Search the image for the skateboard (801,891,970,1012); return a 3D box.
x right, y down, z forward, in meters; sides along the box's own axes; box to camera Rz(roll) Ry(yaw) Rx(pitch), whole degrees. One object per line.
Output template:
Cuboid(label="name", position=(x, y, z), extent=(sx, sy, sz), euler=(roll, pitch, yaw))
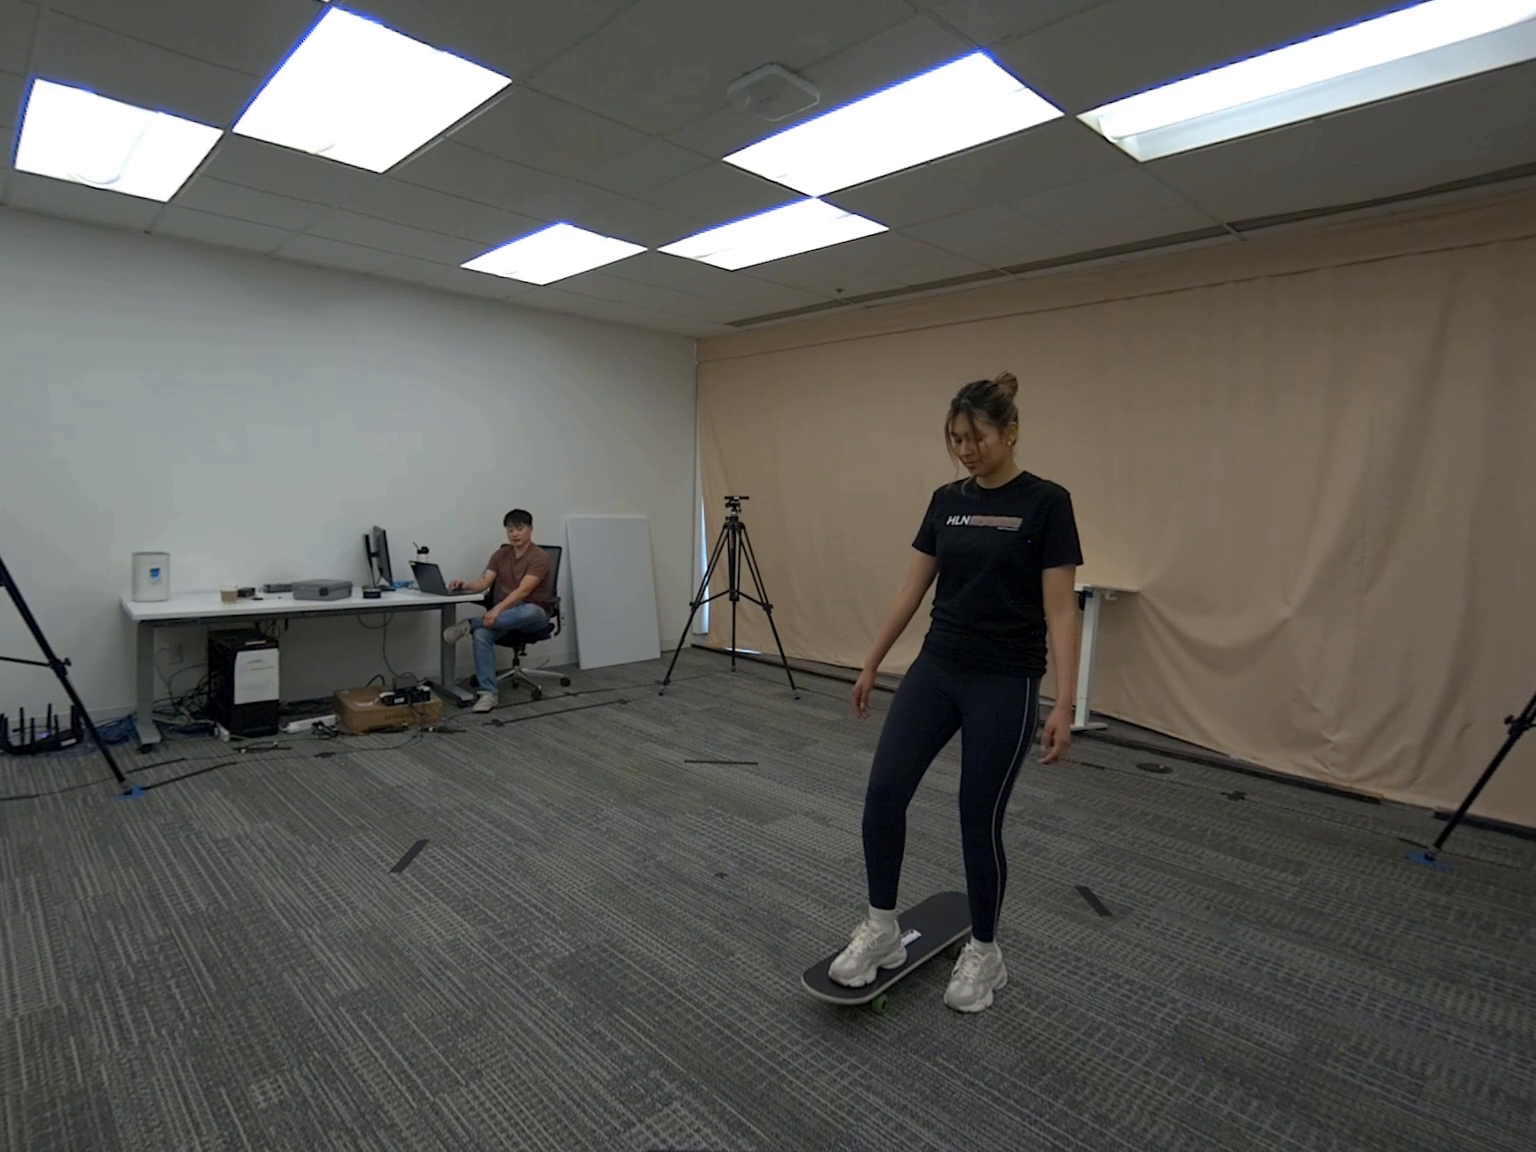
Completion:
Cuboid(label="skateboard", position=(0.386, 1.121, 2.487), extent=(0.198, 0.110, 0.768), euler=(7, 8, 43))
